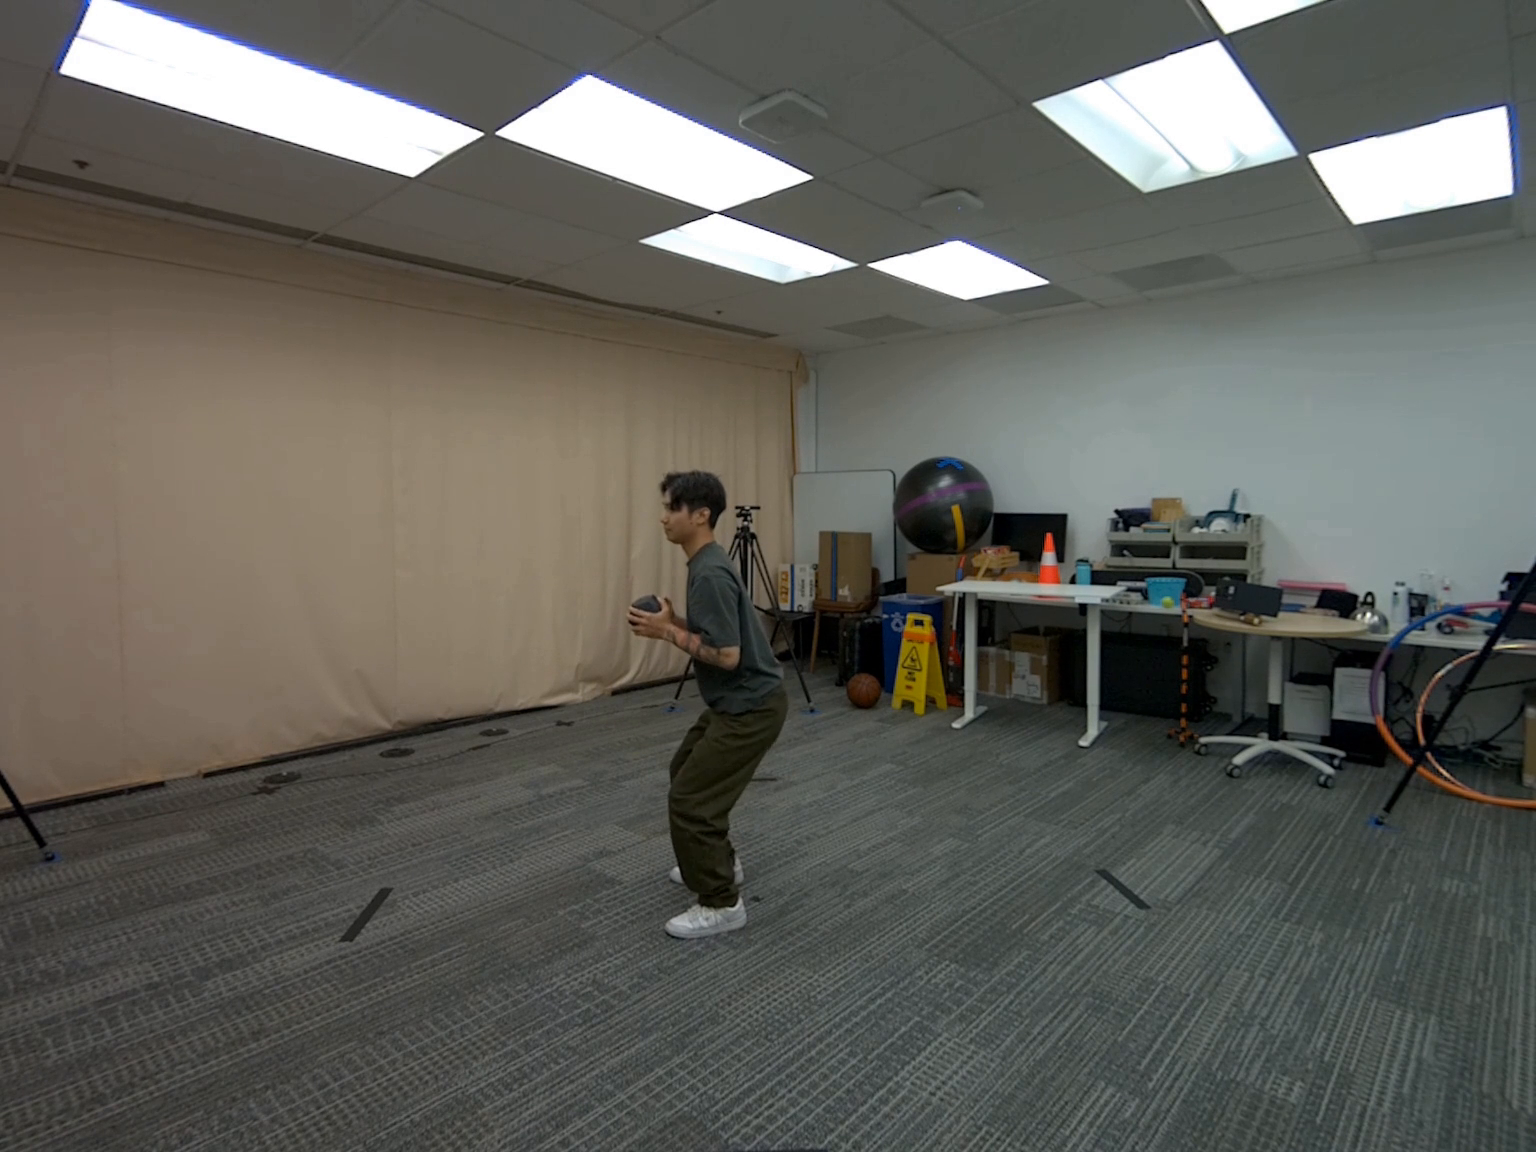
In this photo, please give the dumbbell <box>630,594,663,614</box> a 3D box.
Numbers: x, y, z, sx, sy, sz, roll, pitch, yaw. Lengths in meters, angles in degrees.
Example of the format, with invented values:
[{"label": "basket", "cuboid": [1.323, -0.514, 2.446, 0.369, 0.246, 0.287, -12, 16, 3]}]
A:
[{"label": "dumbbell", "cuboid": [-0.404, 0.129, 2.936, 0.123, 0.108, 0.294, 44, -2, -2]}]
